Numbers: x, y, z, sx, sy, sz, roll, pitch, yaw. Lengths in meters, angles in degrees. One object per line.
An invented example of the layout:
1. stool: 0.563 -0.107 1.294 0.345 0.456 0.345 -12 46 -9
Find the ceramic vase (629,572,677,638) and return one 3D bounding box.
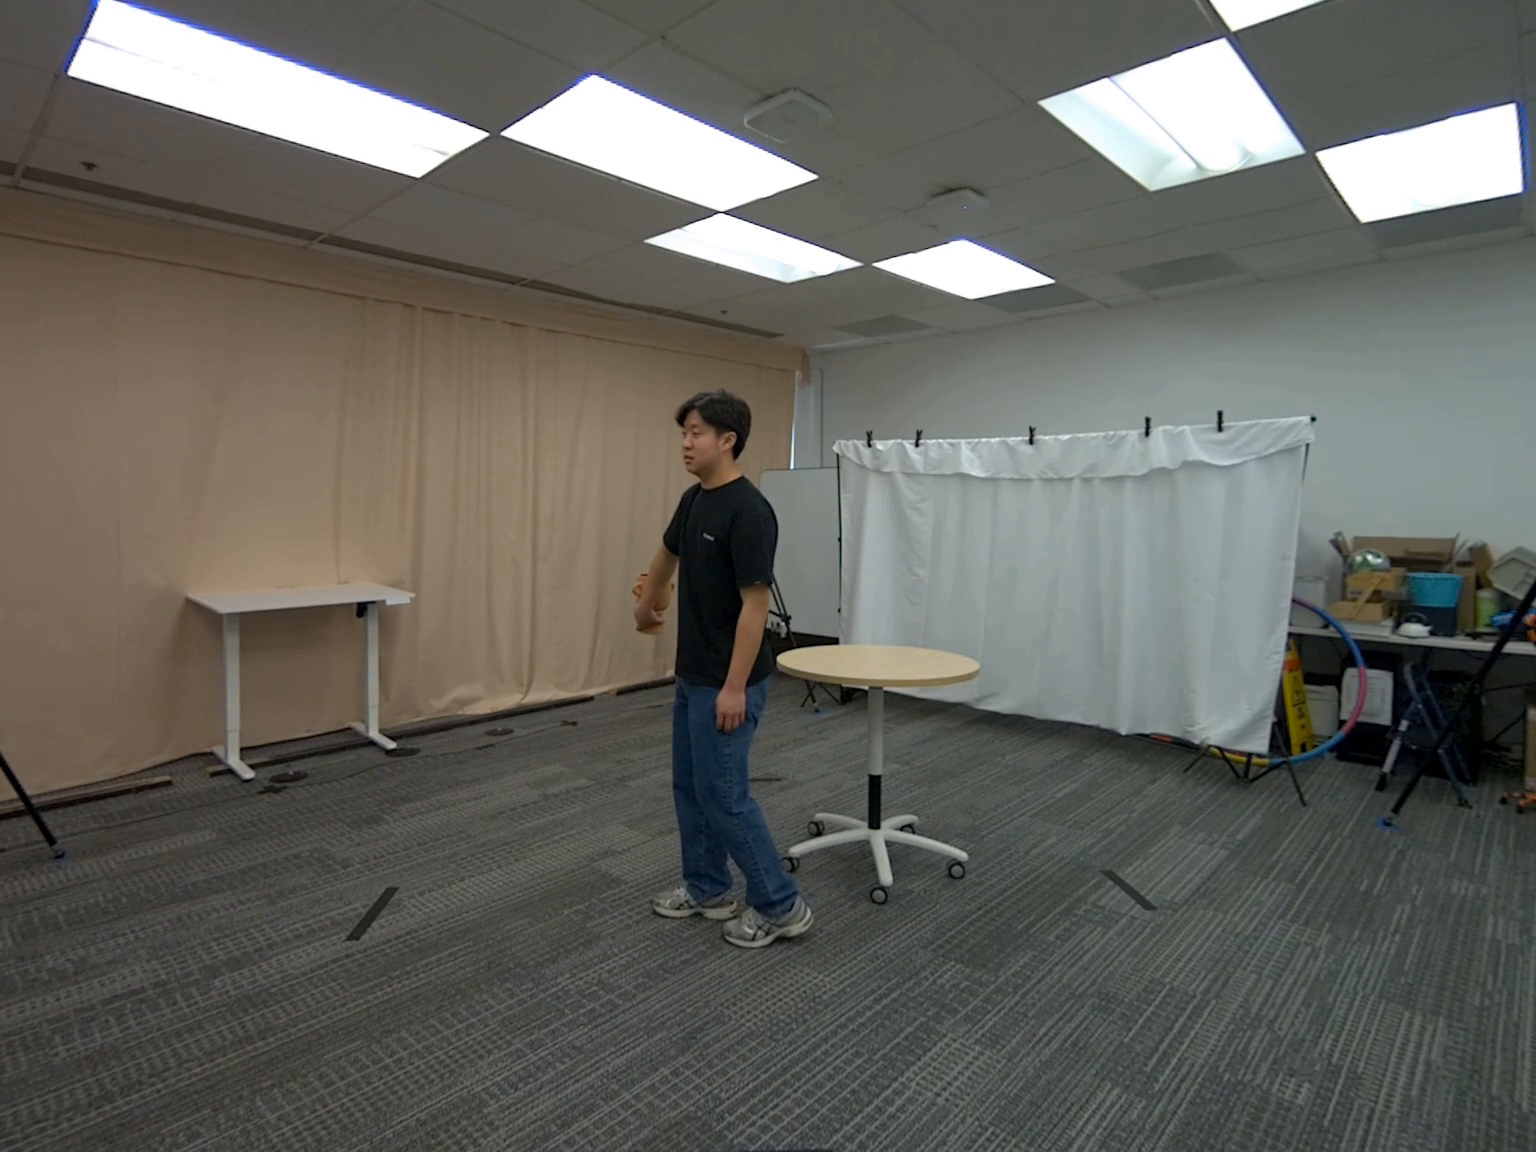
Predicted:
1. ceramic vase: -0.437 0.105 3.217 0.158 0.219 0.135 3 6 -3
